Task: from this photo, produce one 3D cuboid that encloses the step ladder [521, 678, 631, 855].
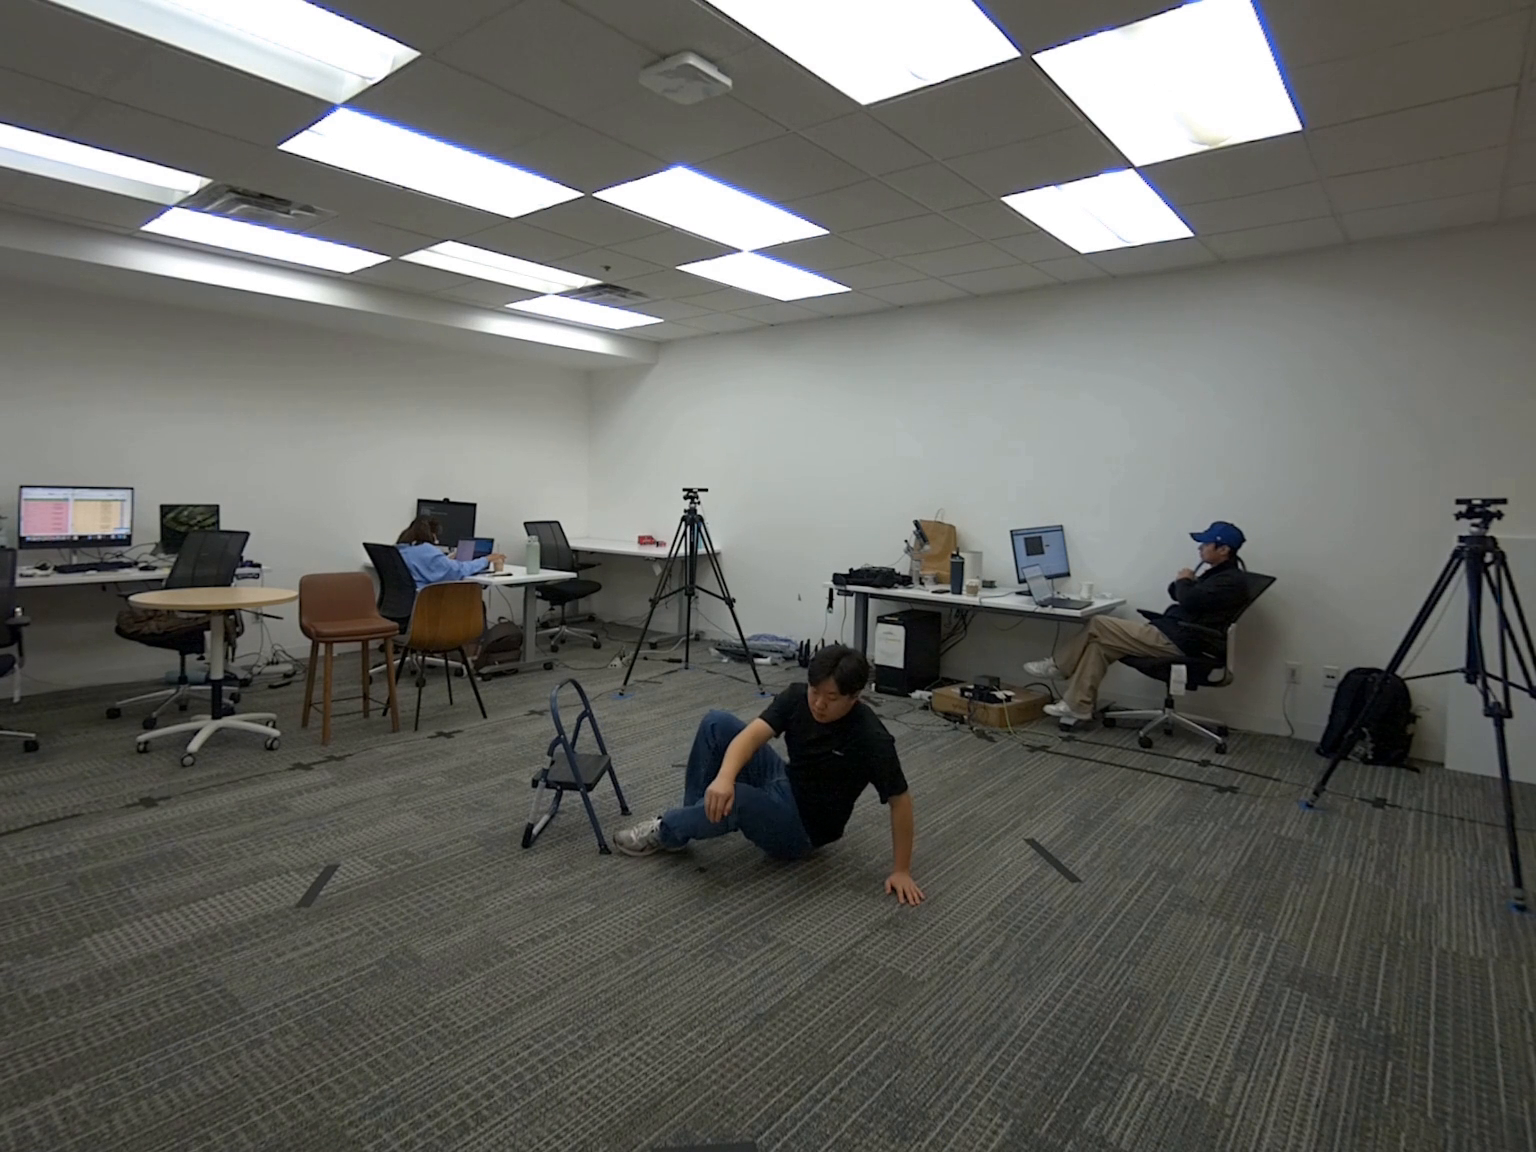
[{"bbox_3d":[-0.776,0.728,3.437,0.351,0.605,0.430,1,3,2],"label":"step ladder"}]
